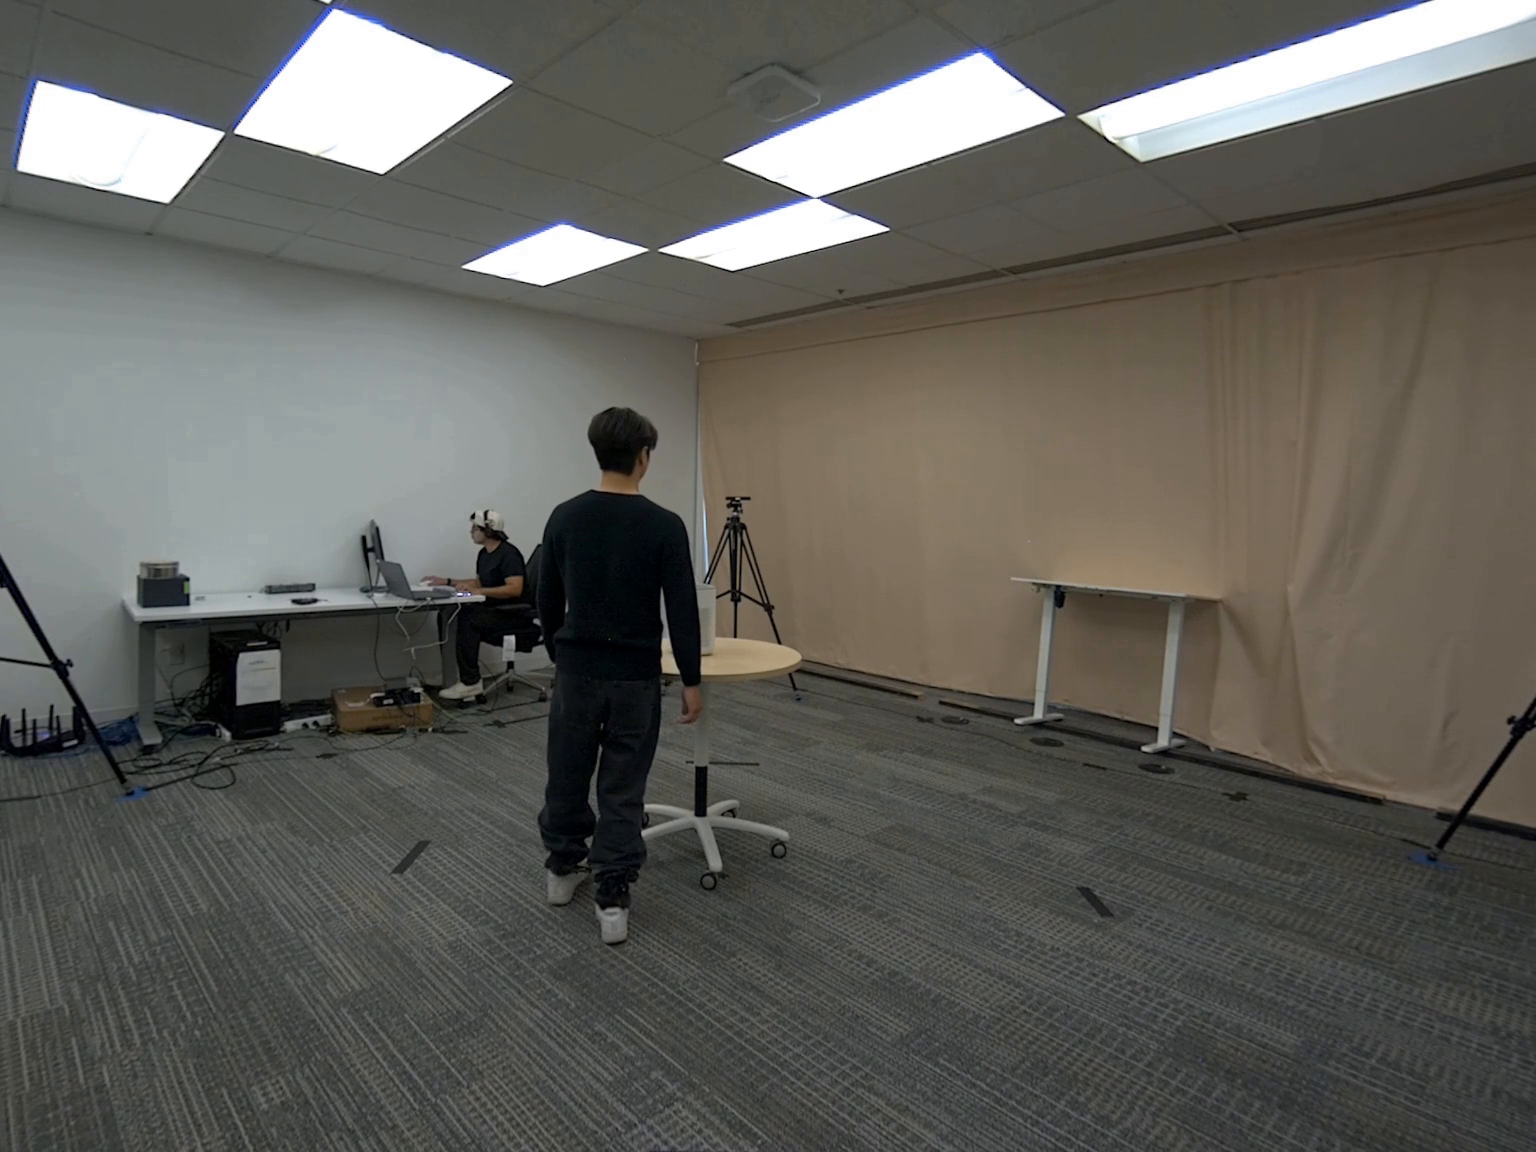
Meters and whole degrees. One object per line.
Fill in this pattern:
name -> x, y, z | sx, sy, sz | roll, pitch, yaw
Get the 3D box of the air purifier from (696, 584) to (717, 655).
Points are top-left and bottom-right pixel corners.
air purifier -> -0.303, 0.170, 3.282 | 0.168, 0.264, 0.175 | -1, 5, -29
